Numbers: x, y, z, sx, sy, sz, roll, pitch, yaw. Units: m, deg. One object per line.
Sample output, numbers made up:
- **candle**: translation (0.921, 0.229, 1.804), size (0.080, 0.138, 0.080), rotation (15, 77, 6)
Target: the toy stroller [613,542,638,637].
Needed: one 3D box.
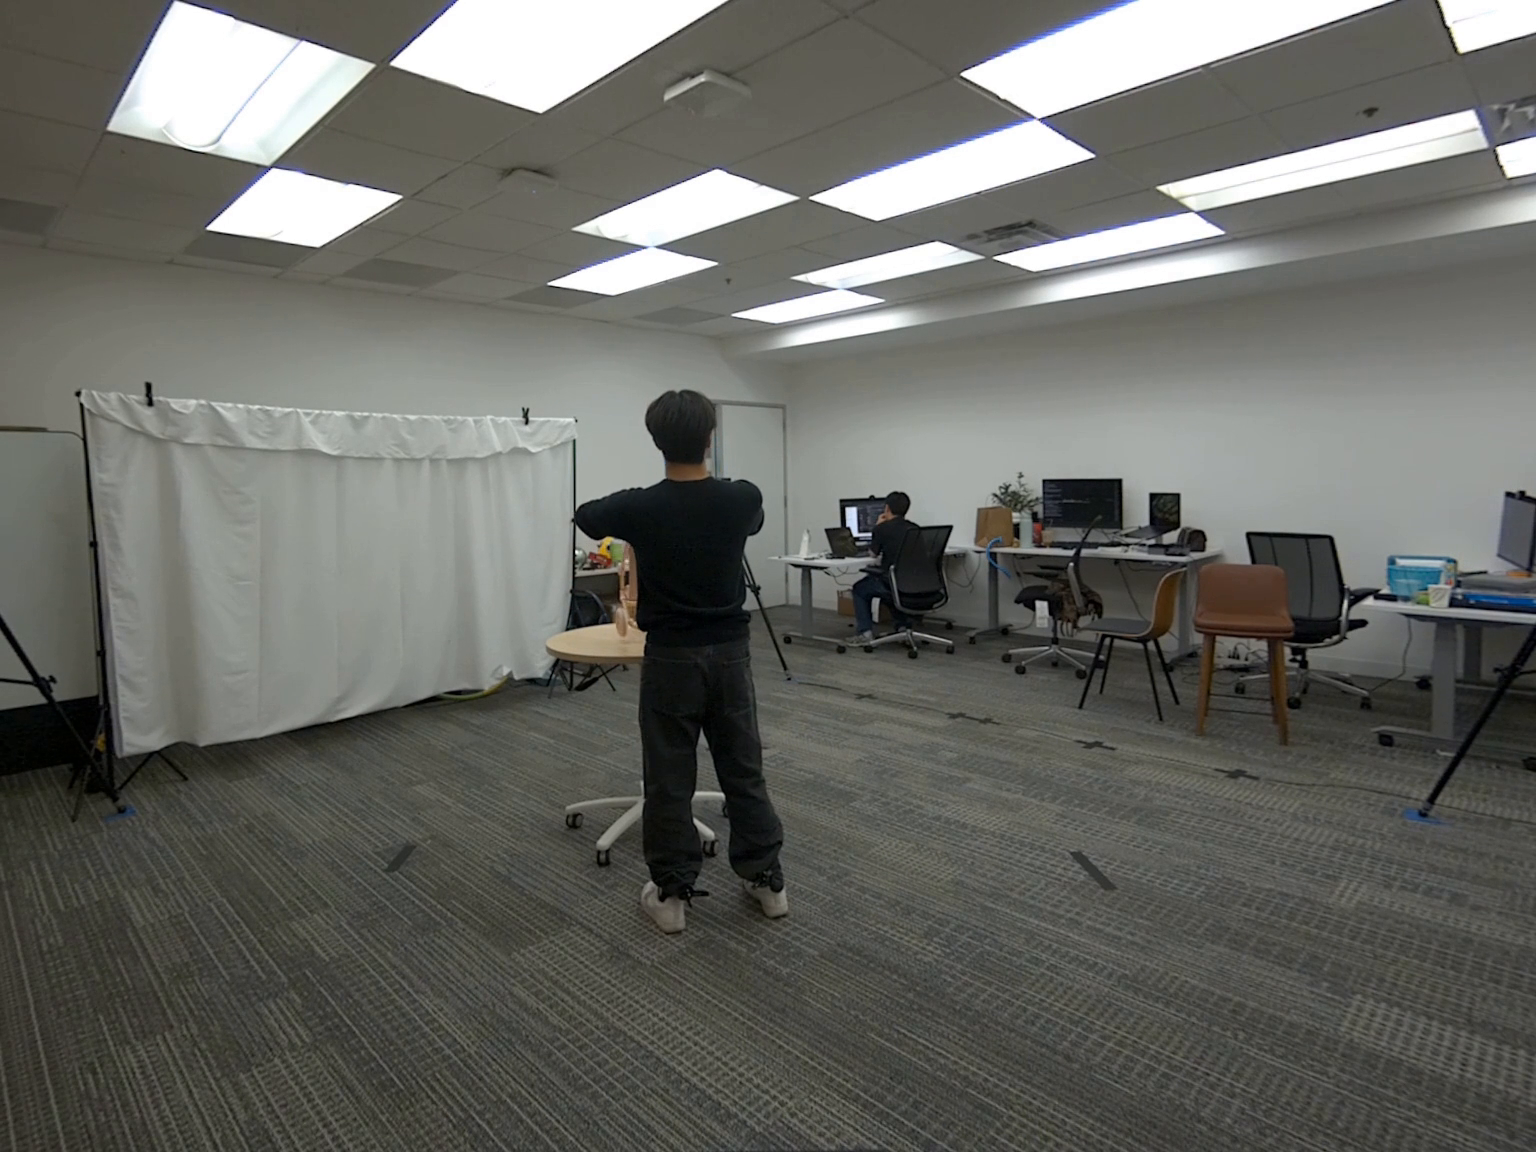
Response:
- **toy stroller**: translation (-0.458, -0.018, 3.323), size (0.278, 0.526, 0.351), rotation (-3, 20, -13)
